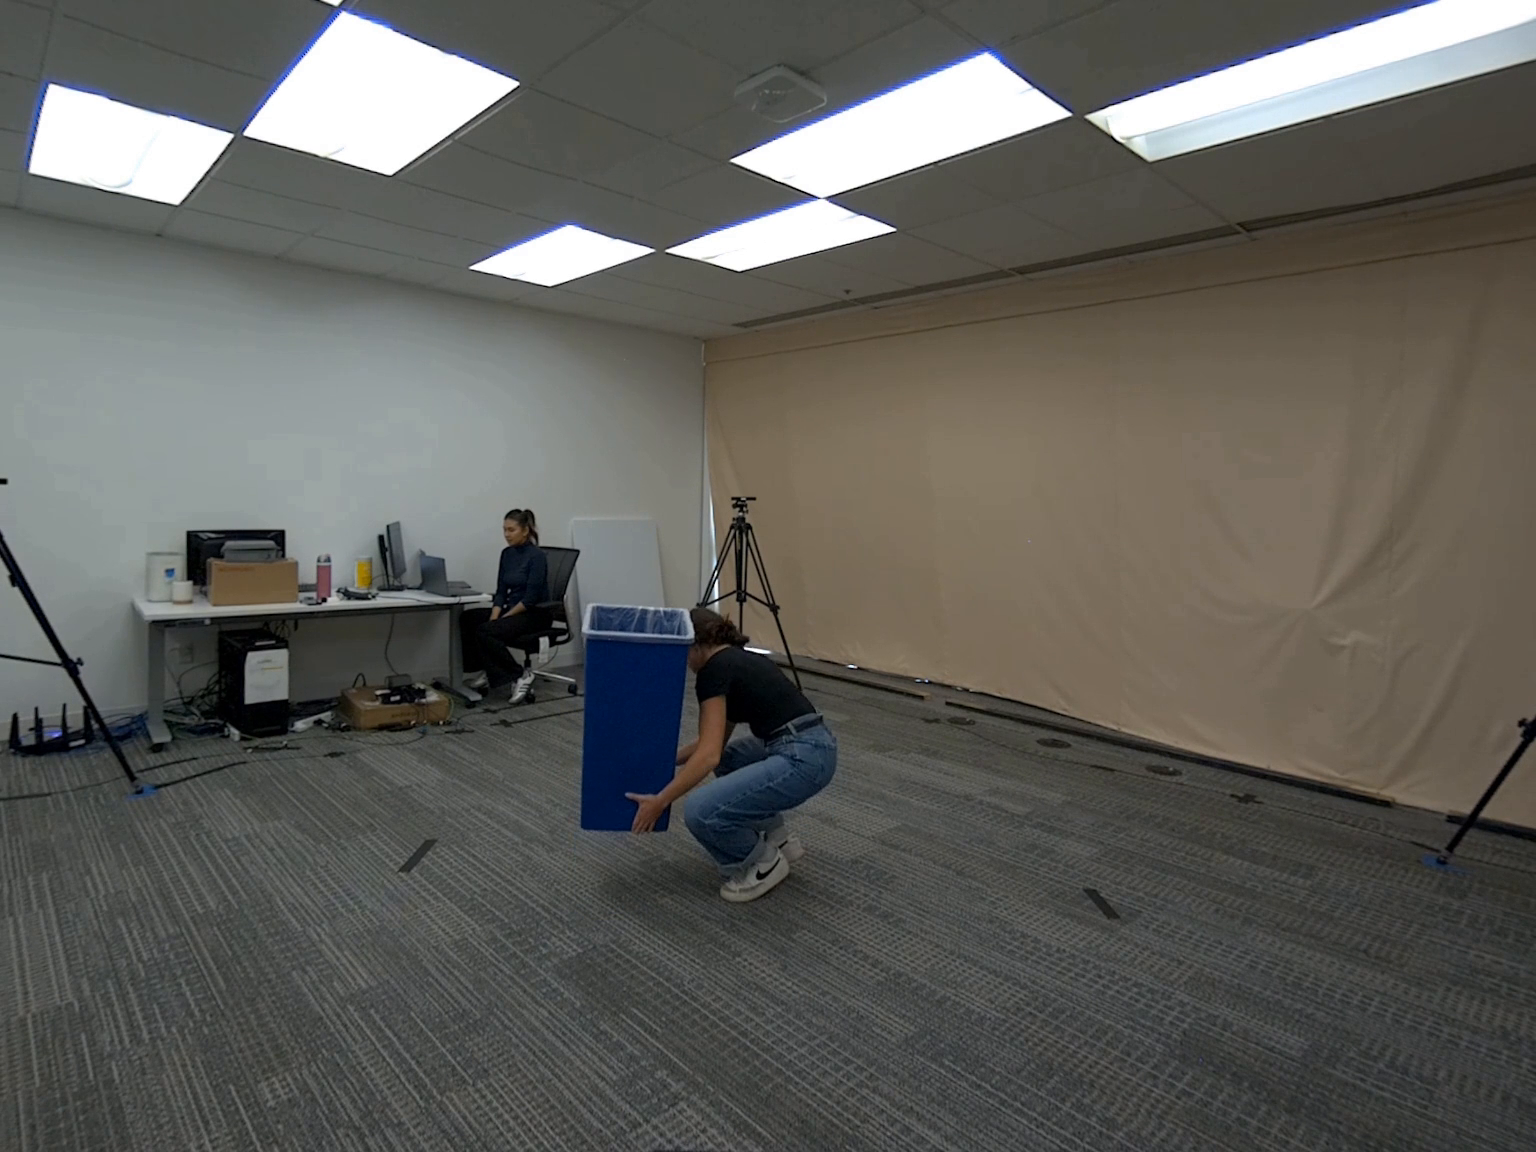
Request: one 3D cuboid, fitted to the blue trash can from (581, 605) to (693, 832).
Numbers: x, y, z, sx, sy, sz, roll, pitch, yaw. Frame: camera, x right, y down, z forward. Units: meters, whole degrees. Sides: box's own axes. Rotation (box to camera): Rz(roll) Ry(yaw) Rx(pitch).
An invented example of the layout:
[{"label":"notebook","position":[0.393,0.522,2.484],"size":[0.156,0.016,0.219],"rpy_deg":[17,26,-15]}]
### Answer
[{"label":"blue trash can","position":[-0.485,0.494,2.960],"size":[0.375,0.709,0.379],"rpy_deg":[4,10,-8]}]
